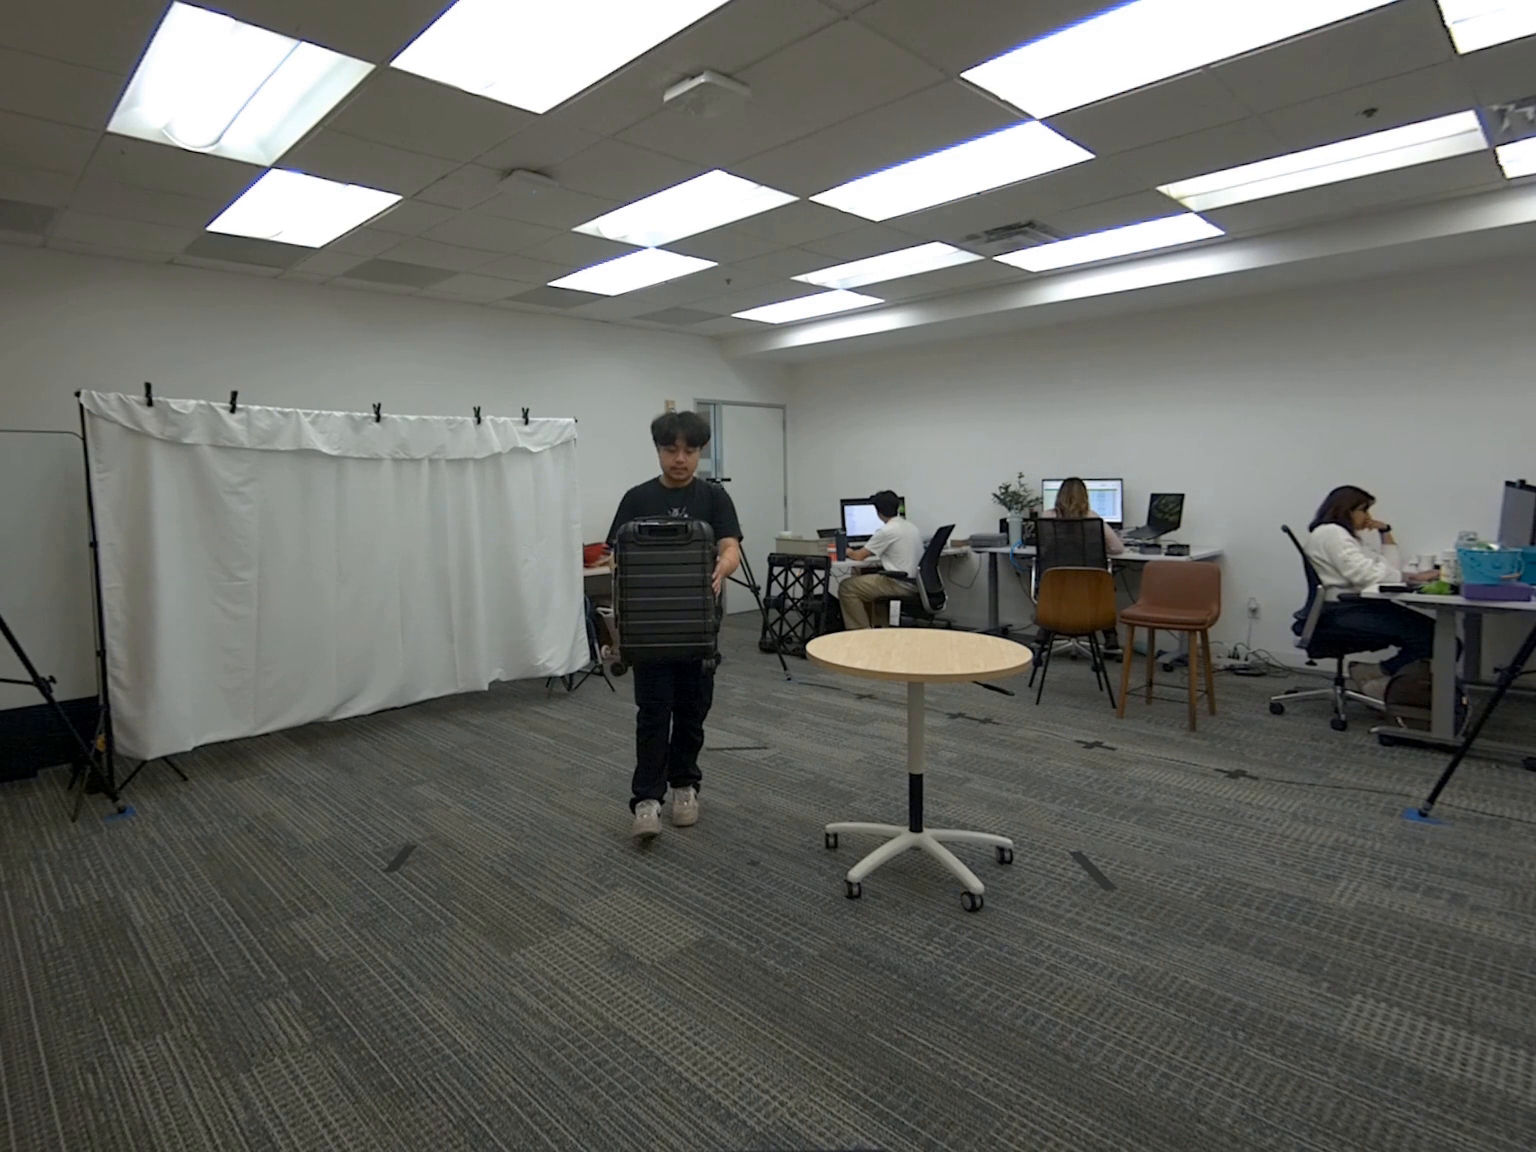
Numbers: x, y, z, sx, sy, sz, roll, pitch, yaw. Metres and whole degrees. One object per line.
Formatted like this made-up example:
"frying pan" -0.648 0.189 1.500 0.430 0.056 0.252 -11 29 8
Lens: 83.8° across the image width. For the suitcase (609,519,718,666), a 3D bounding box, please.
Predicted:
"suitcase" -0.372 0.063 3.095 0.376 0.550 0.247 -2 0 3
